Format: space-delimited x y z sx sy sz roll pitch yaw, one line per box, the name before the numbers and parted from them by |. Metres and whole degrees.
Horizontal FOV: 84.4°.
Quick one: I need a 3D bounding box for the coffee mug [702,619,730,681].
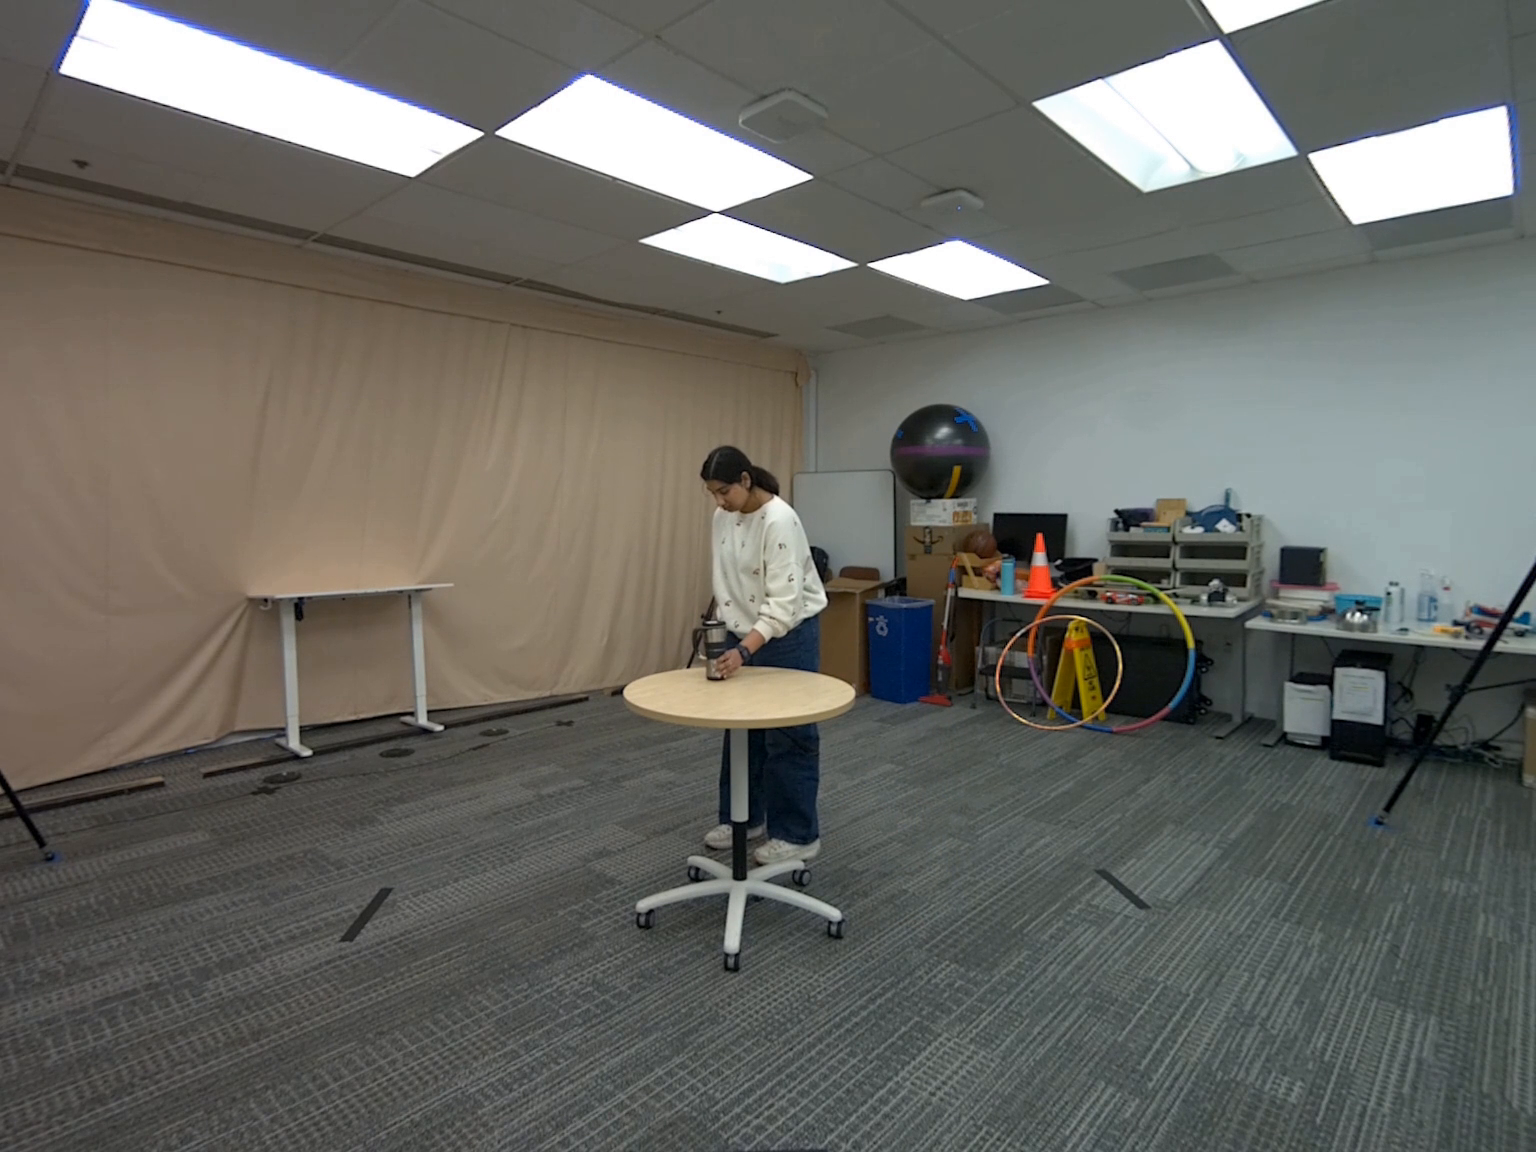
coffee mug | -0.218 0.257 2.962 0.124 0.202 0.086 6 4 15
